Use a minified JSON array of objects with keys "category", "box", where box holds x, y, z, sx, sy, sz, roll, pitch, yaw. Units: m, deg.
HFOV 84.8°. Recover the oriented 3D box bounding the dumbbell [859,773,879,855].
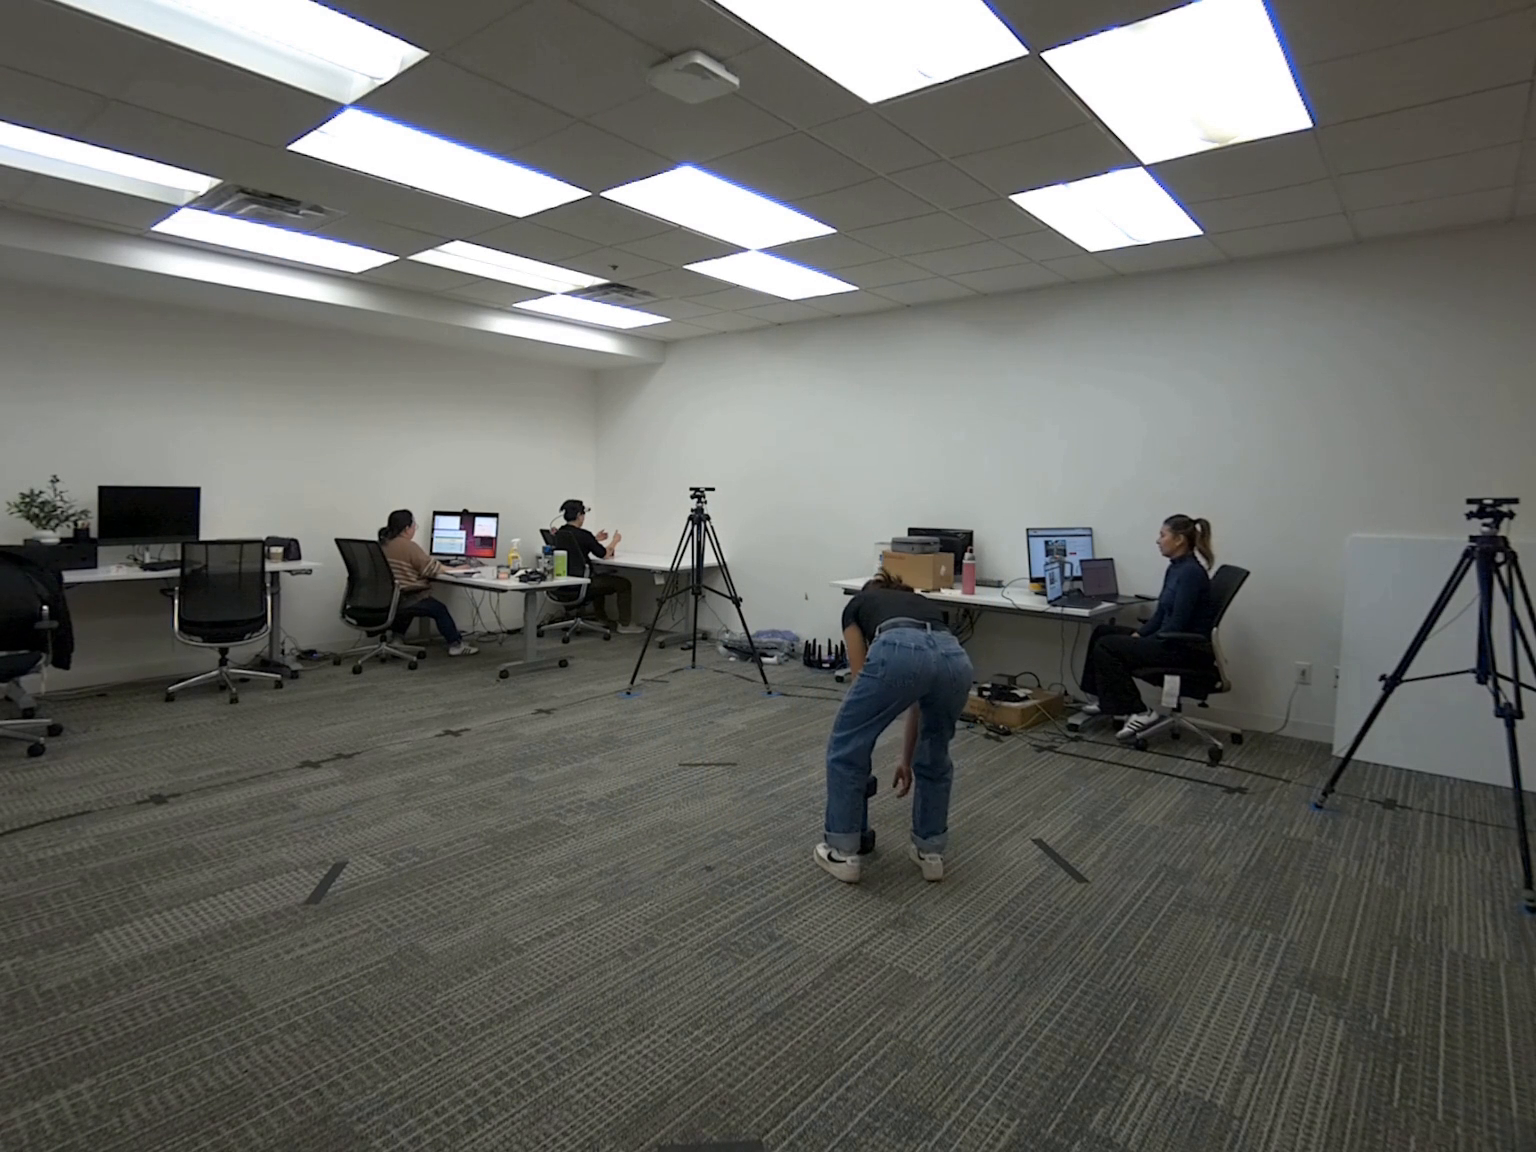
[{"category":"dumbbell","box":[0.351,0.915,3.310,0.106,0.293,0.126,-2,3,-24]}]
